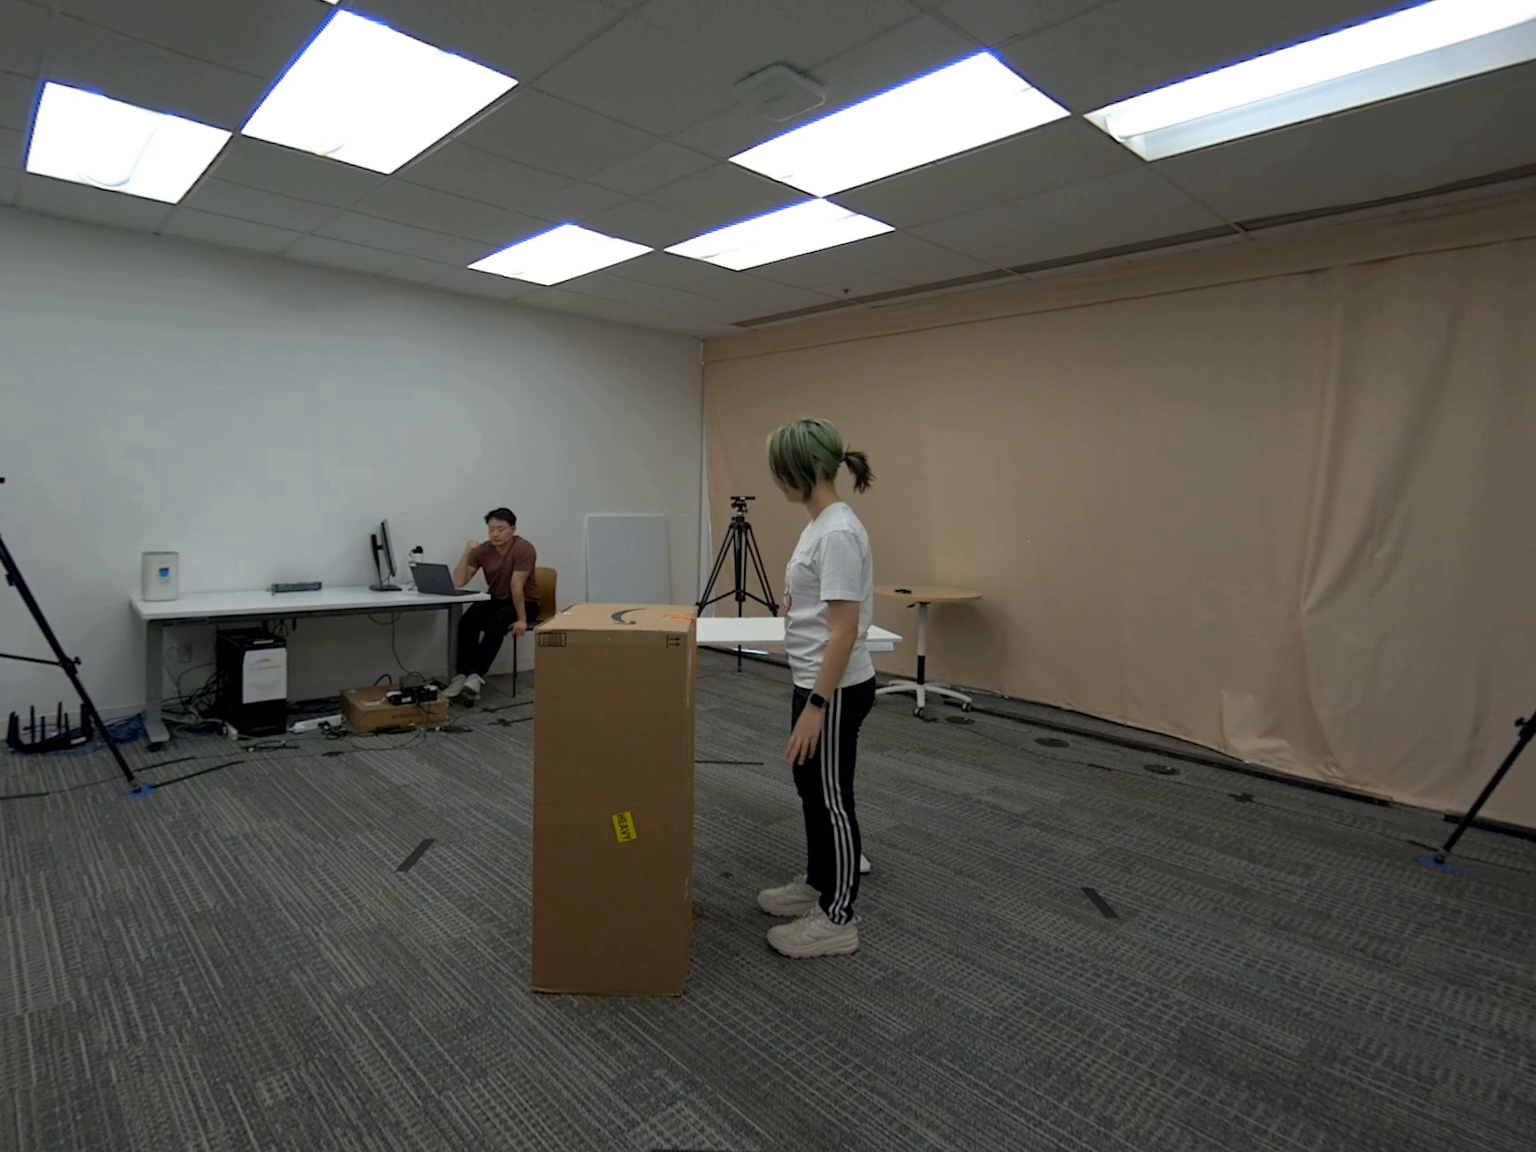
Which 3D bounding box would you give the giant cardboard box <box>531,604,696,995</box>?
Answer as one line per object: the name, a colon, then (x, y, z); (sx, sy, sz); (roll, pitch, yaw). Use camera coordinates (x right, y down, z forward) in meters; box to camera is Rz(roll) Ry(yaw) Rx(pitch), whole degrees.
giant cardboard box: (-0.457, 0.639, 2.600); (0.446, 1.025, 0.585); (0, 3, -1)
